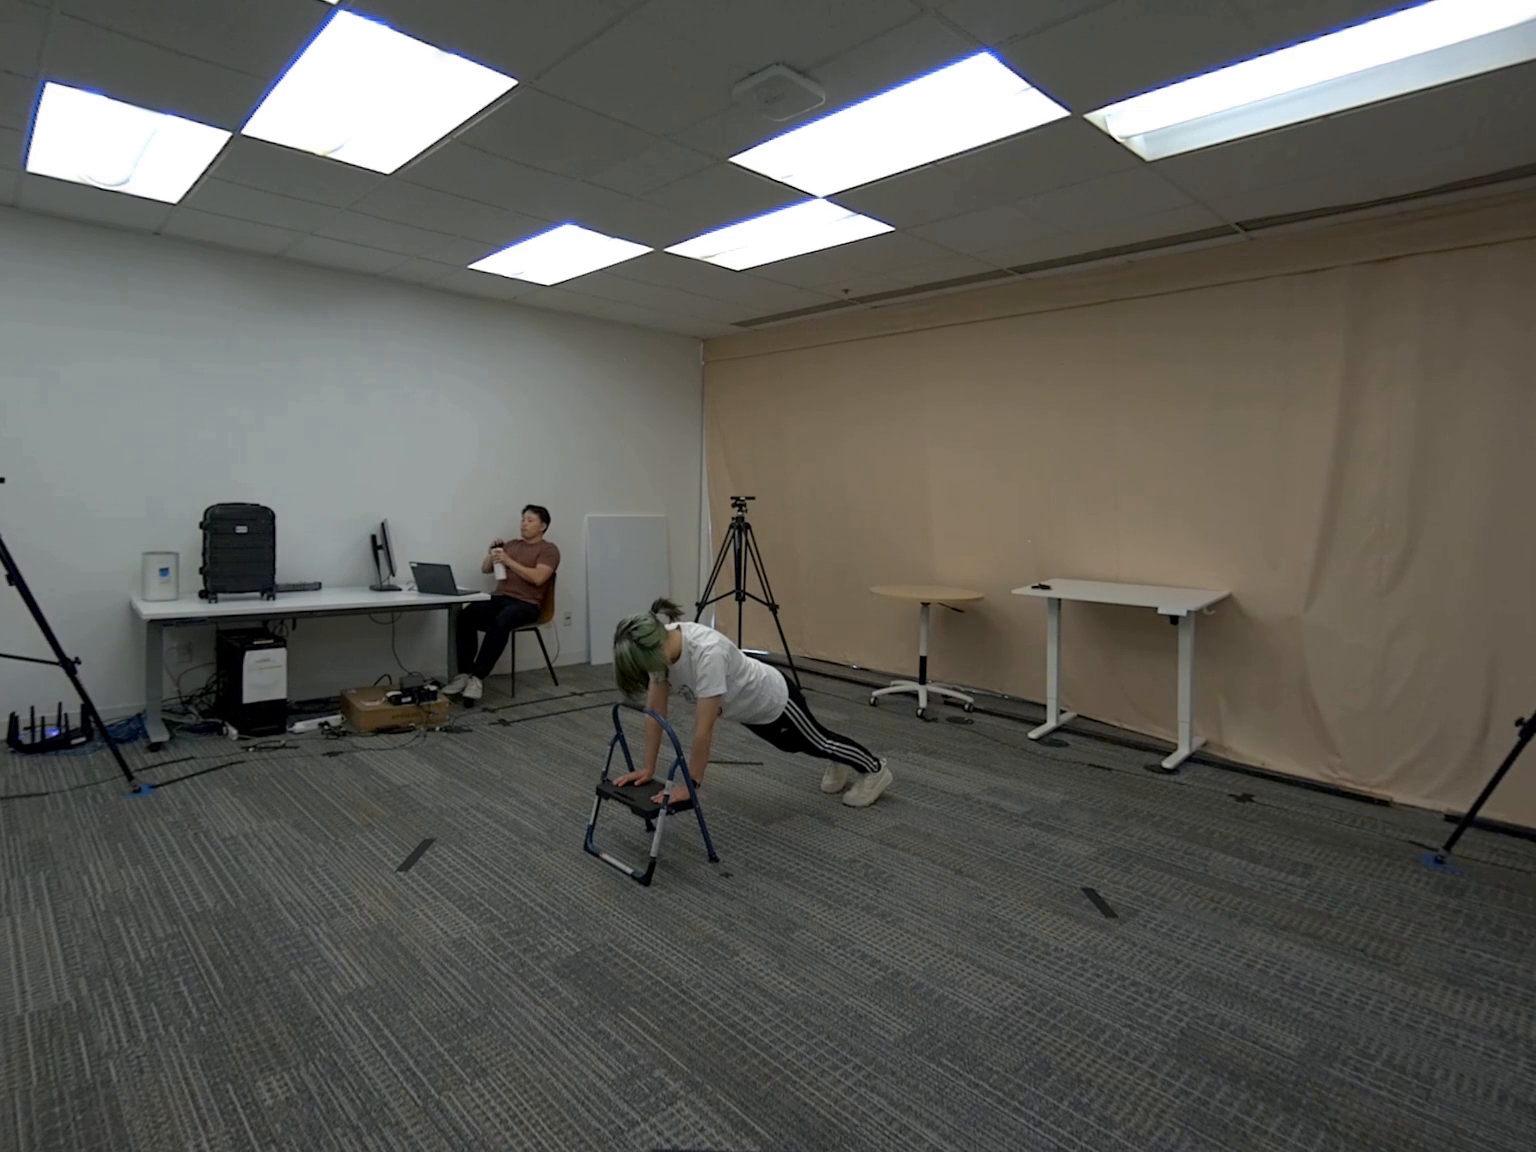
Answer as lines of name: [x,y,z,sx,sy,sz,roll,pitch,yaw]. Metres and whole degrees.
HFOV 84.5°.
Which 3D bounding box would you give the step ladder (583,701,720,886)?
step ladder: [-0.458,0.784,3.241,0.341,0.604,0.442,-2,5,-44]
